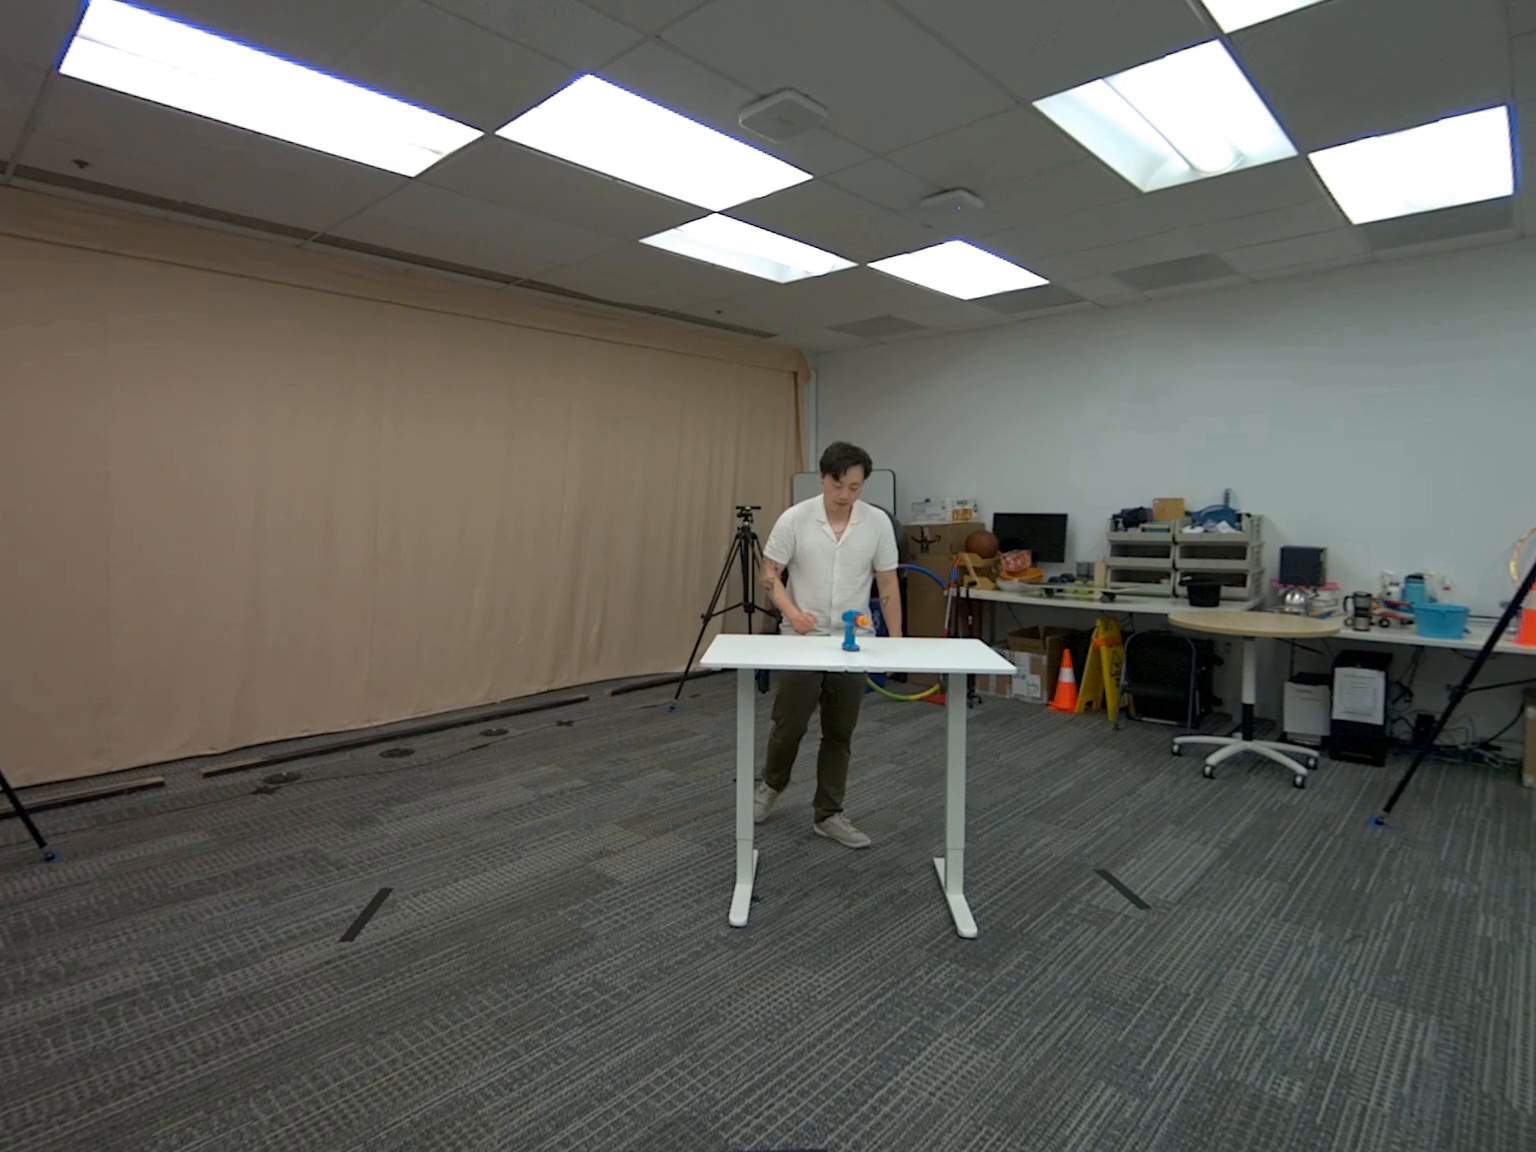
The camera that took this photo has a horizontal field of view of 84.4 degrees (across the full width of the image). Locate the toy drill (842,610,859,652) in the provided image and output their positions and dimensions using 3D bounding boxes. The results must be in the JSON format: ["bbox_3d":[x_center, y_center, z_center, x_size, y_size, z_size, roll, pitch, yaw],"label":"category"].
[{"bbox_3d":[0.308,0.193,2.946,0.060,0.146,0.173,2,3,-21],"label":"toy drill"}]
